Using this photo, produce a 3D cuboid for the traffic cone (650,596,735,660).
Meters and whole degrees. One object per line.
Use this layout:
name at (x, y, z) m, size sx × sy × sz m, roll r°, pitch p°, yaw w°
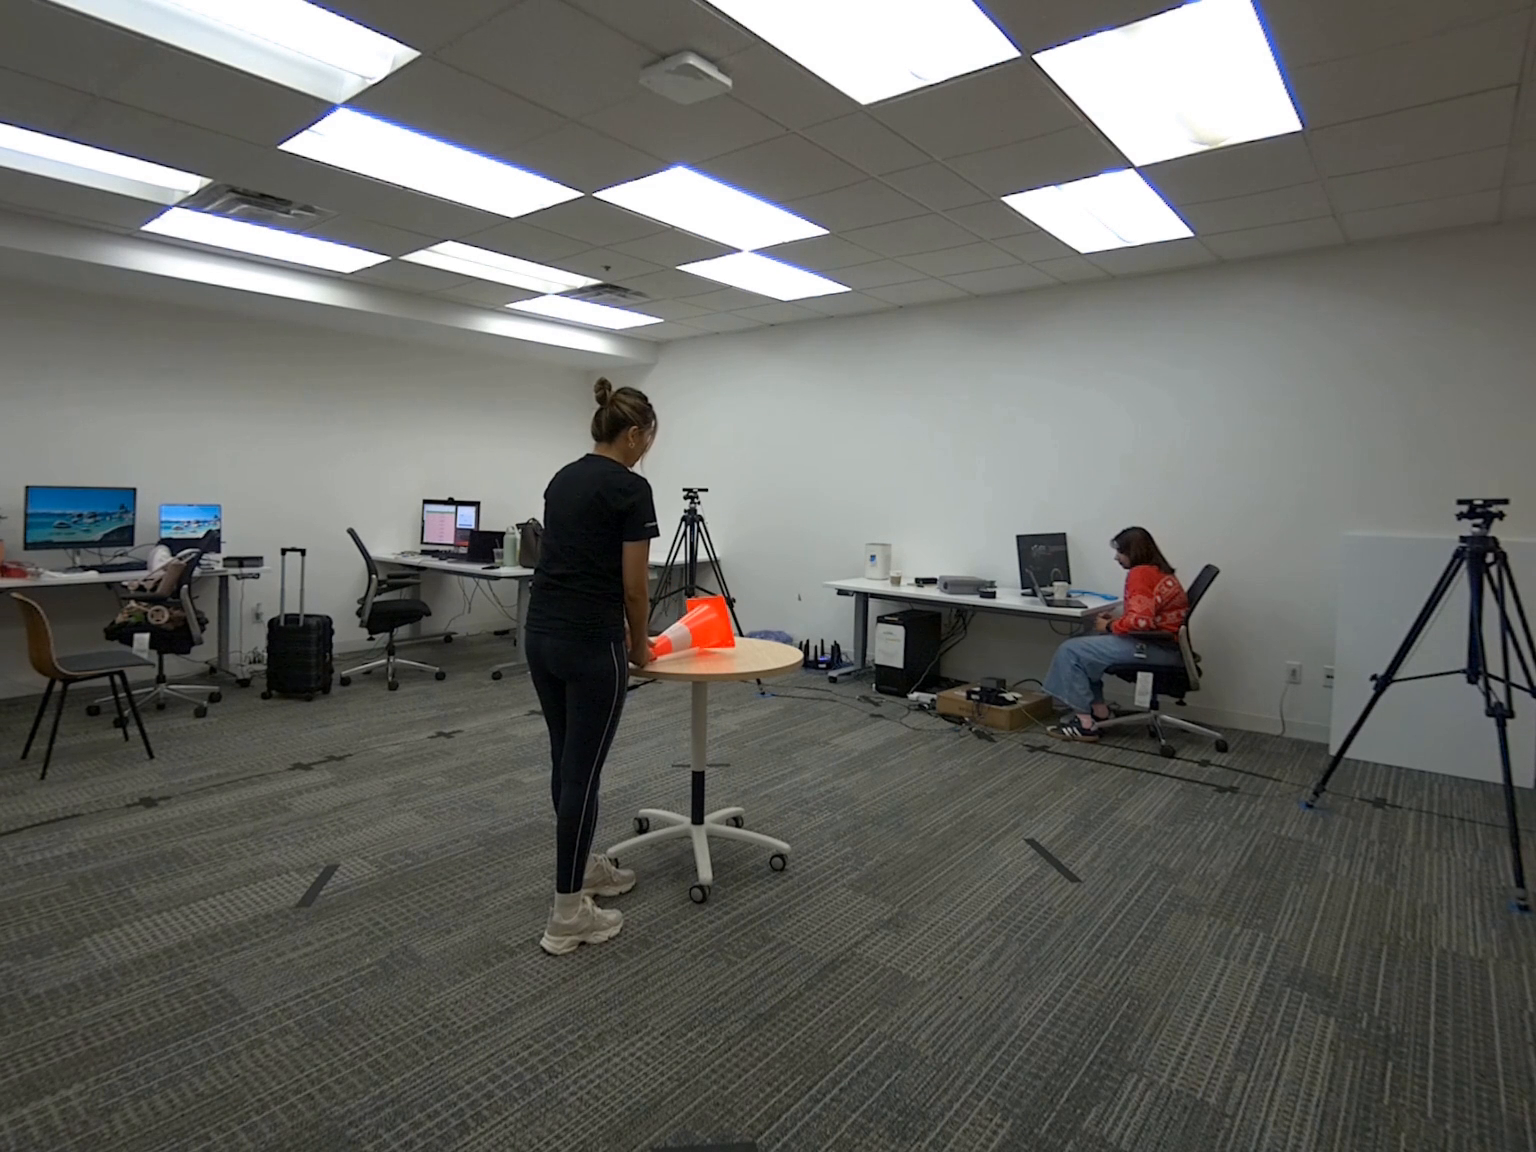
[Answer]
traffic cone at (-0.338, 0.228, 3.028) m, size 0.209 × 0.203 × 0.377 m, roll -9°, pitch 11°, yaw 41°
